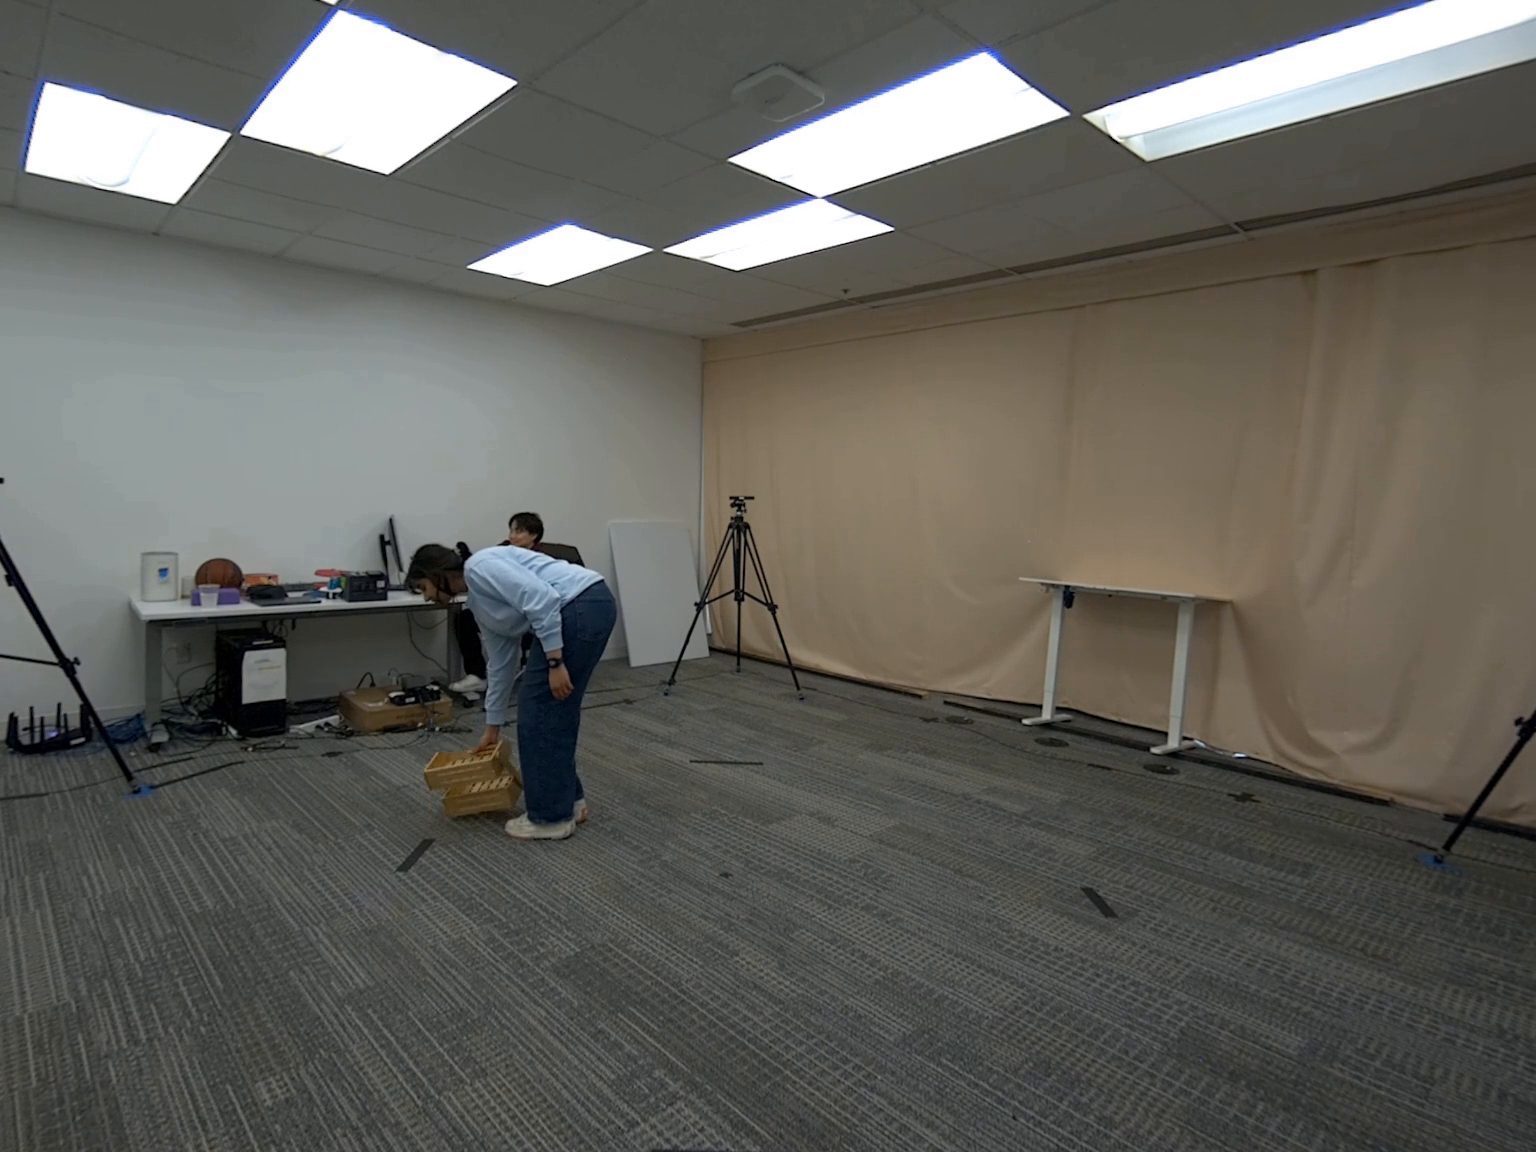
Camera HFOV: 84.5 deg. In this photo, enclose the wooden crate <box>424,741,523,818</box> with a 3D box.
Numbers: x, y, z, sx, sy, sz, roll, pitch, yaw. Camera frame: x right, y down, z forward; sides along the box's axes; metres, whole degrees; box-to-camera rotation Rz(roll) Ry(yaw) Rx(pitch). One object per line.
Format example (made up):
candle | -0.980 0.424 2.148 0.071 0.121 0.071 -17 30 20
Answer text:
wooden crate | -1.245 0.826 3.597 0.326 0.269 0.305 -11 18 6
